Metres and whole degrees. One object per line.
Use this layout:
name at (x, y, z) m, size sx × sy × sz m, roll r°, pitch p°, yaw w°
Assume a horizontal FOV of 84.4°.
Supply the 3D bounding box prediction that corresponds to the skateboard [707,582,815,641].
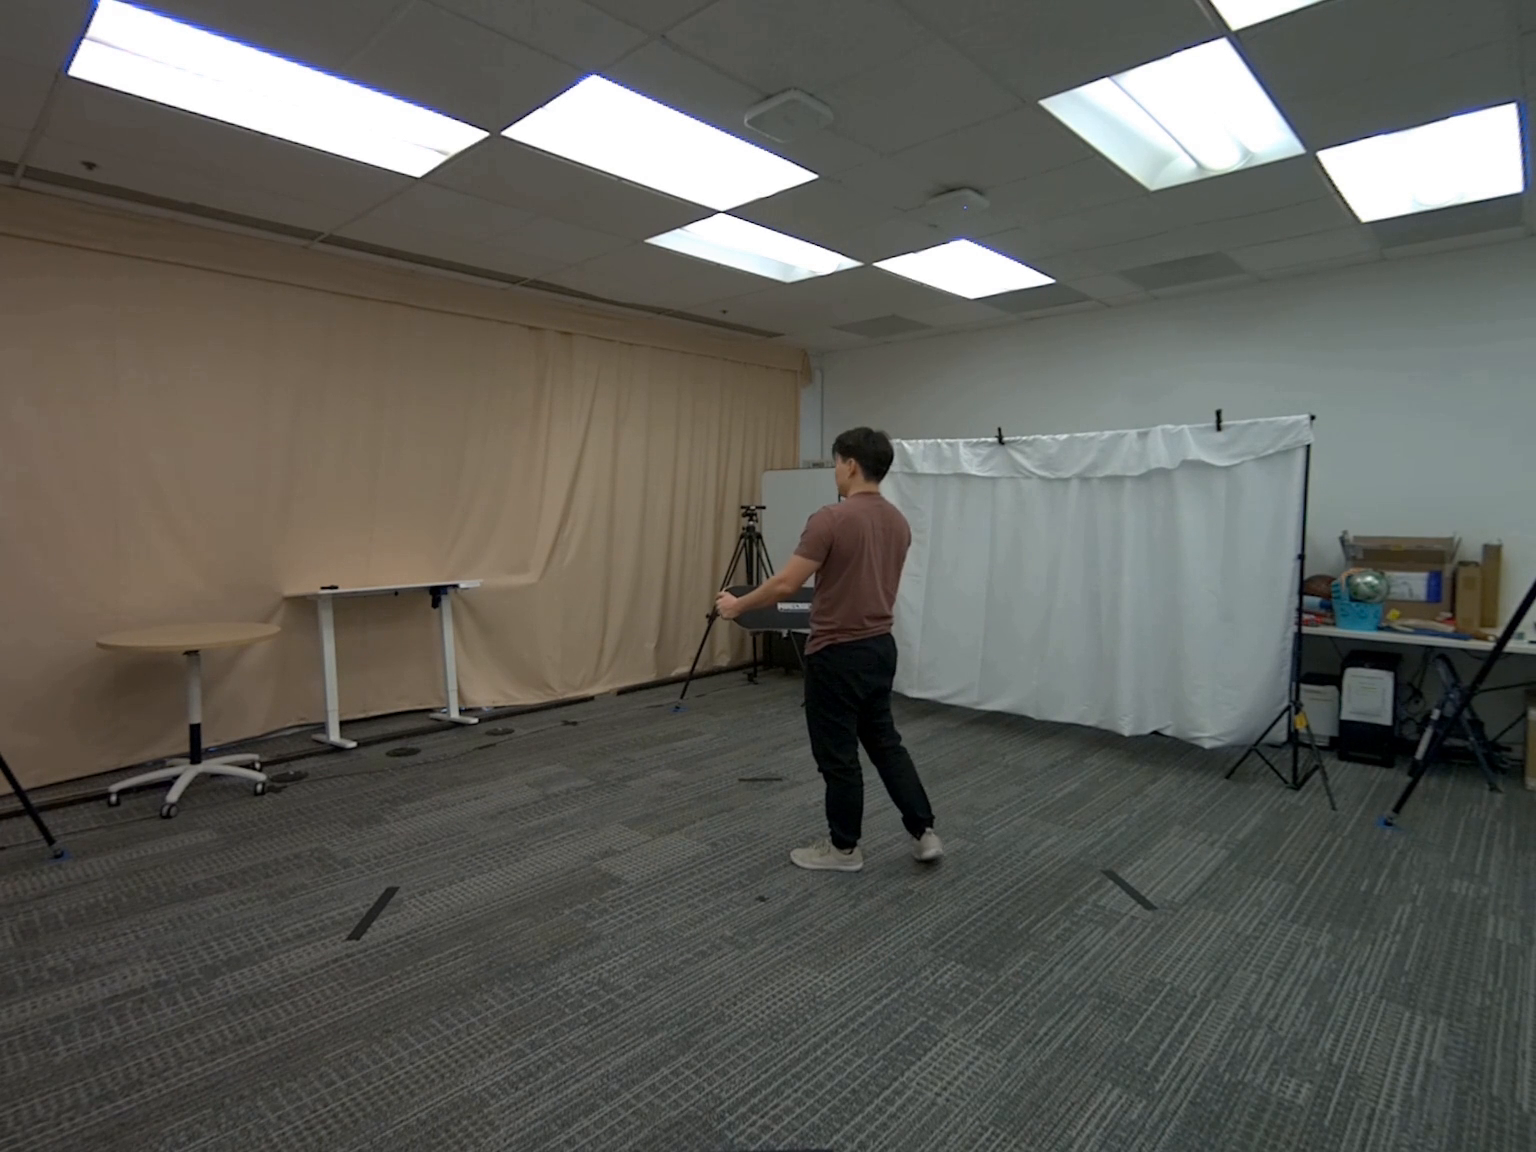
skateboard at (0.104, 0.143, 3.479) m, size 0.760 × 0.196 × 0.112 m, roll 2°, pitch -24°, yaw -41°
